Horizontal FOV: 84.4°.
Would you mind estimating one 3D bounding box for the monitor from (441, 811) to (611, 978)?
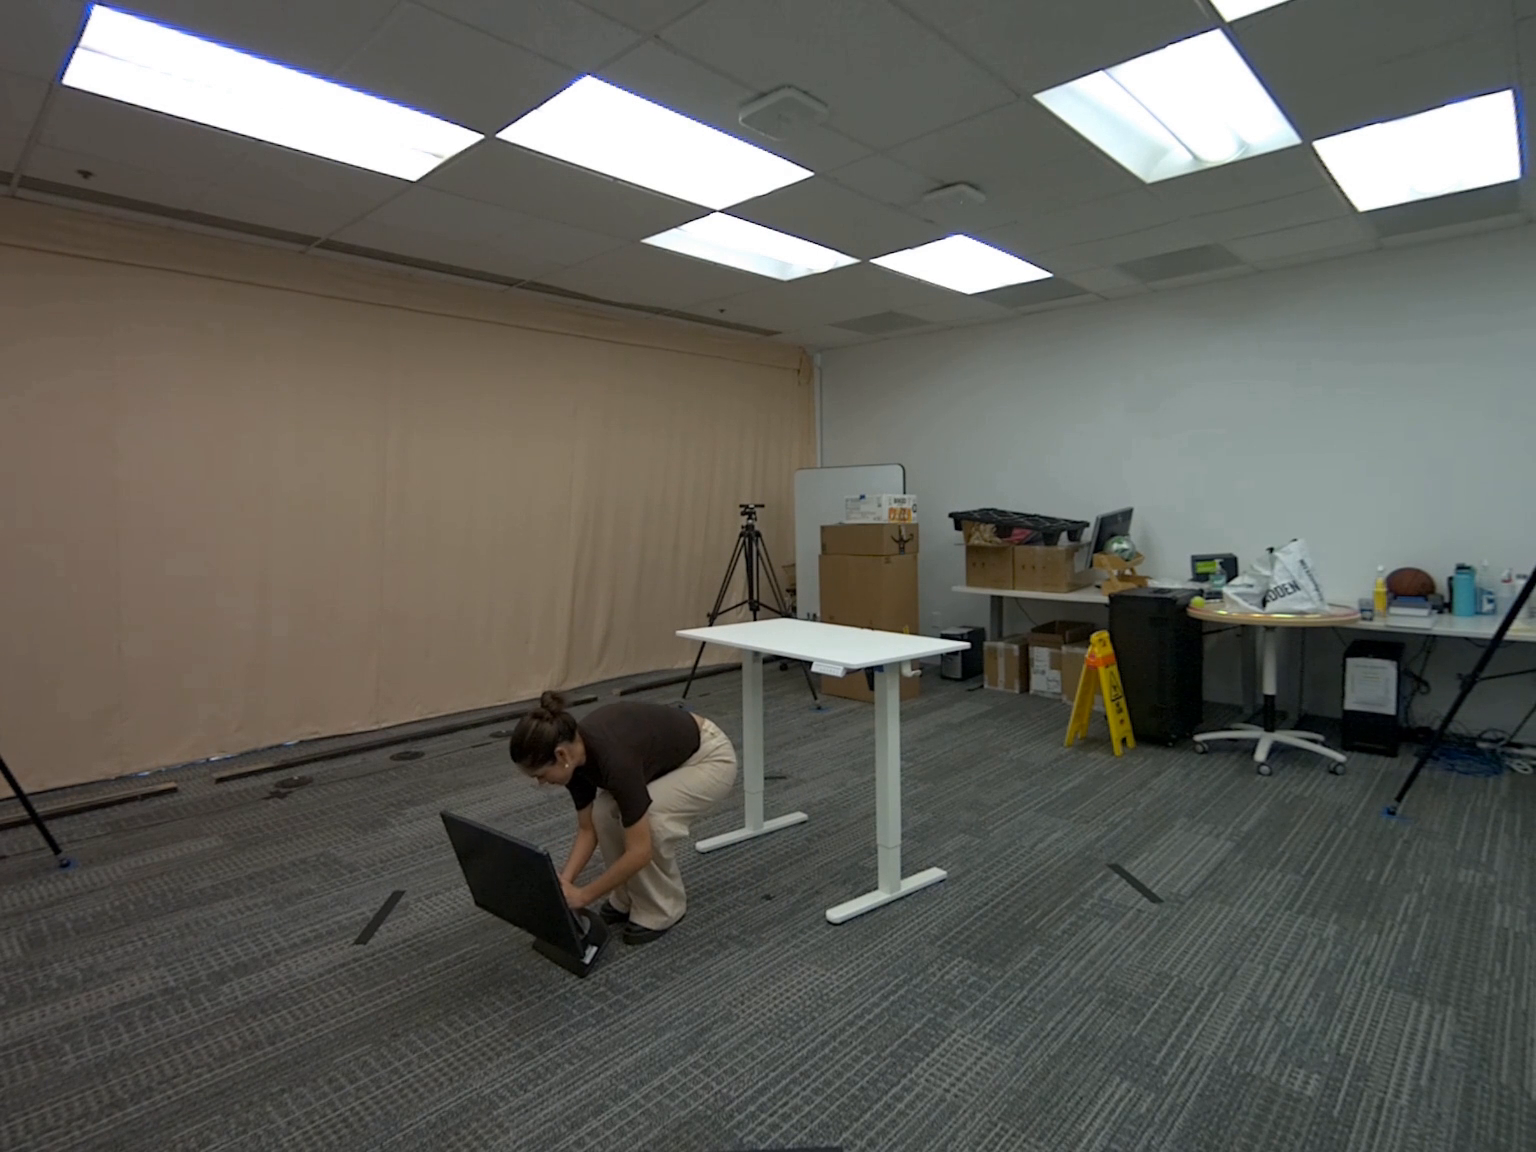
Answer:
[{"bbox_3d":[-0.715,0.934,2.521,0.556,0.510,0.186,1,37,40],"label":"monitor"}]
